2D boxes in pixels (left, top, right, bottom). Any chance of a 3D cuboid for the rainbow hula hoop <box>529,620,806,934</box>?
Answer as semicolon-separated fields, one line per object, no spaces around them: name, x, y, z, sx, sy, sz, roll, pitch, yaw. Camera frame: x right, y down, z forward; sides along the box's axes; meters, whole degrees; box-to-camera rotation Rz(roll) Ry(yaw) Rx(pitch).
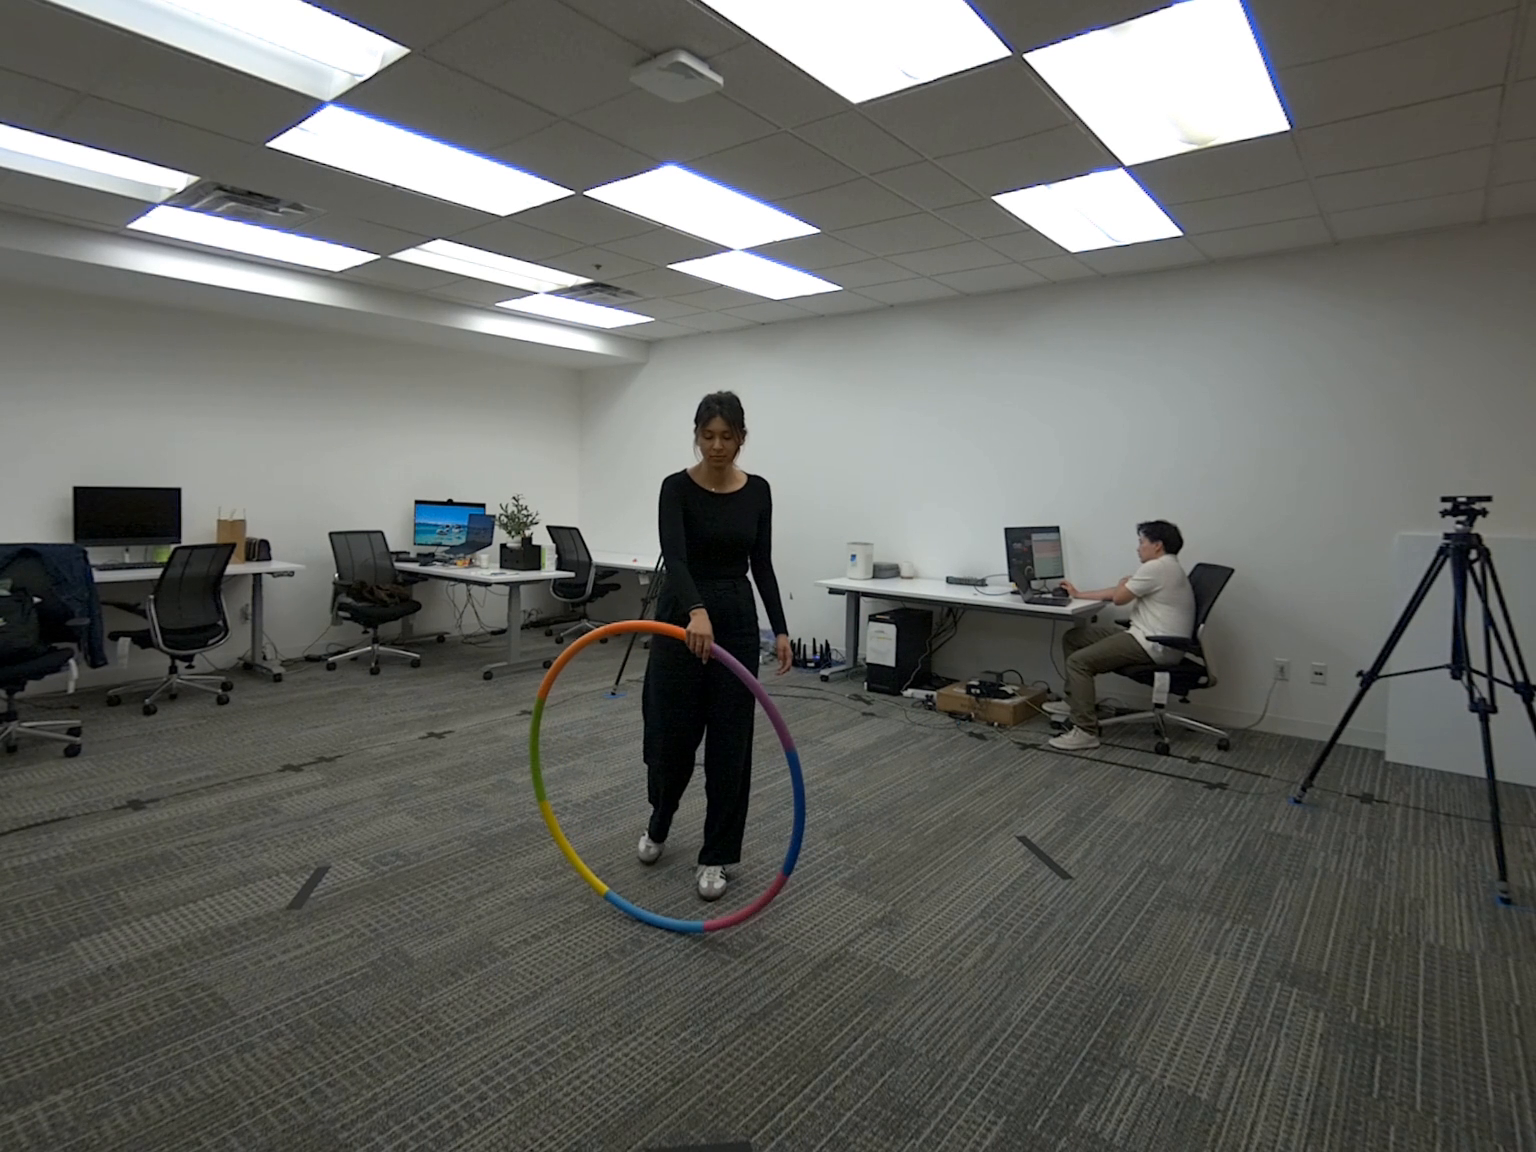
rainbow hula hoop;-0.361;0.618;2.634;1.005;0.971;0.035;3;8;27
